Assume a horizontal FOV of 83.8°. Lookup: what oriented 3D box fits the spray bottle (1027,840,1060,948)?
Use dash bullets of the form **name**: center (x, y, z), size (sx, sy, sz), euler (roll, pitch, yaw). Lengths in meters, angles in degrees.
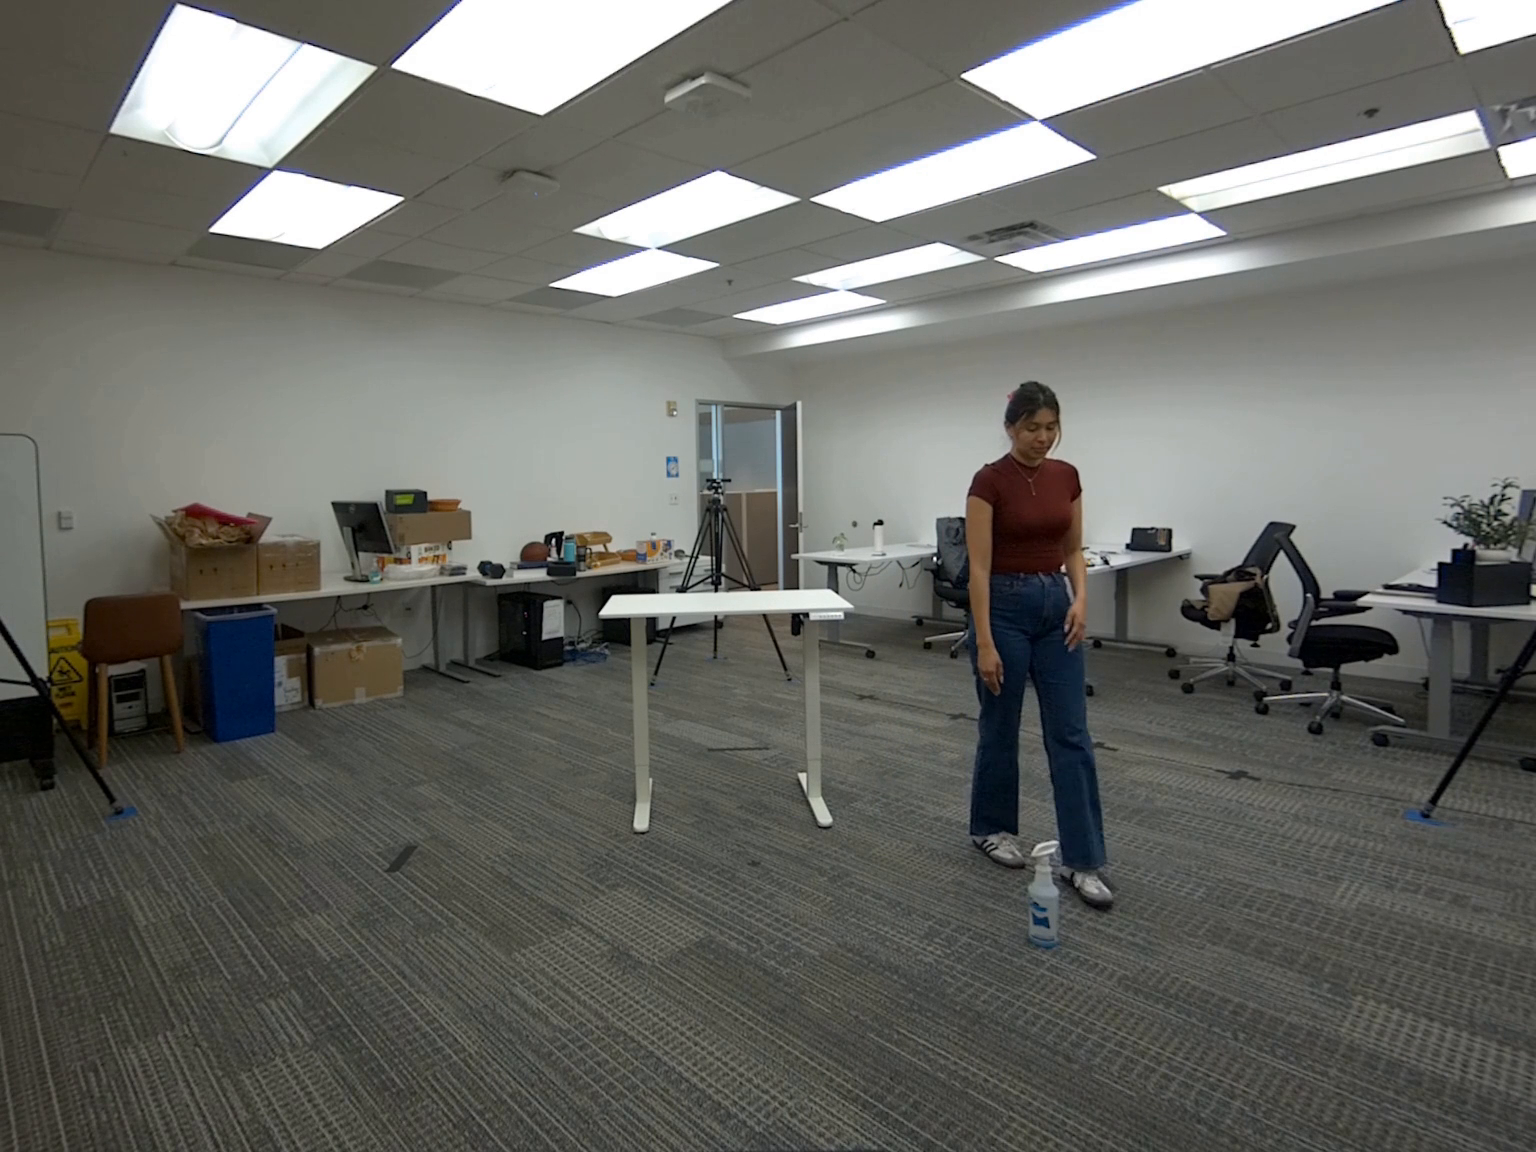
- **spray bottle**: center (0.829, 0.952, 2.550), size (0.090, 0.296, 0.087), euler (-2, 4, 5)
